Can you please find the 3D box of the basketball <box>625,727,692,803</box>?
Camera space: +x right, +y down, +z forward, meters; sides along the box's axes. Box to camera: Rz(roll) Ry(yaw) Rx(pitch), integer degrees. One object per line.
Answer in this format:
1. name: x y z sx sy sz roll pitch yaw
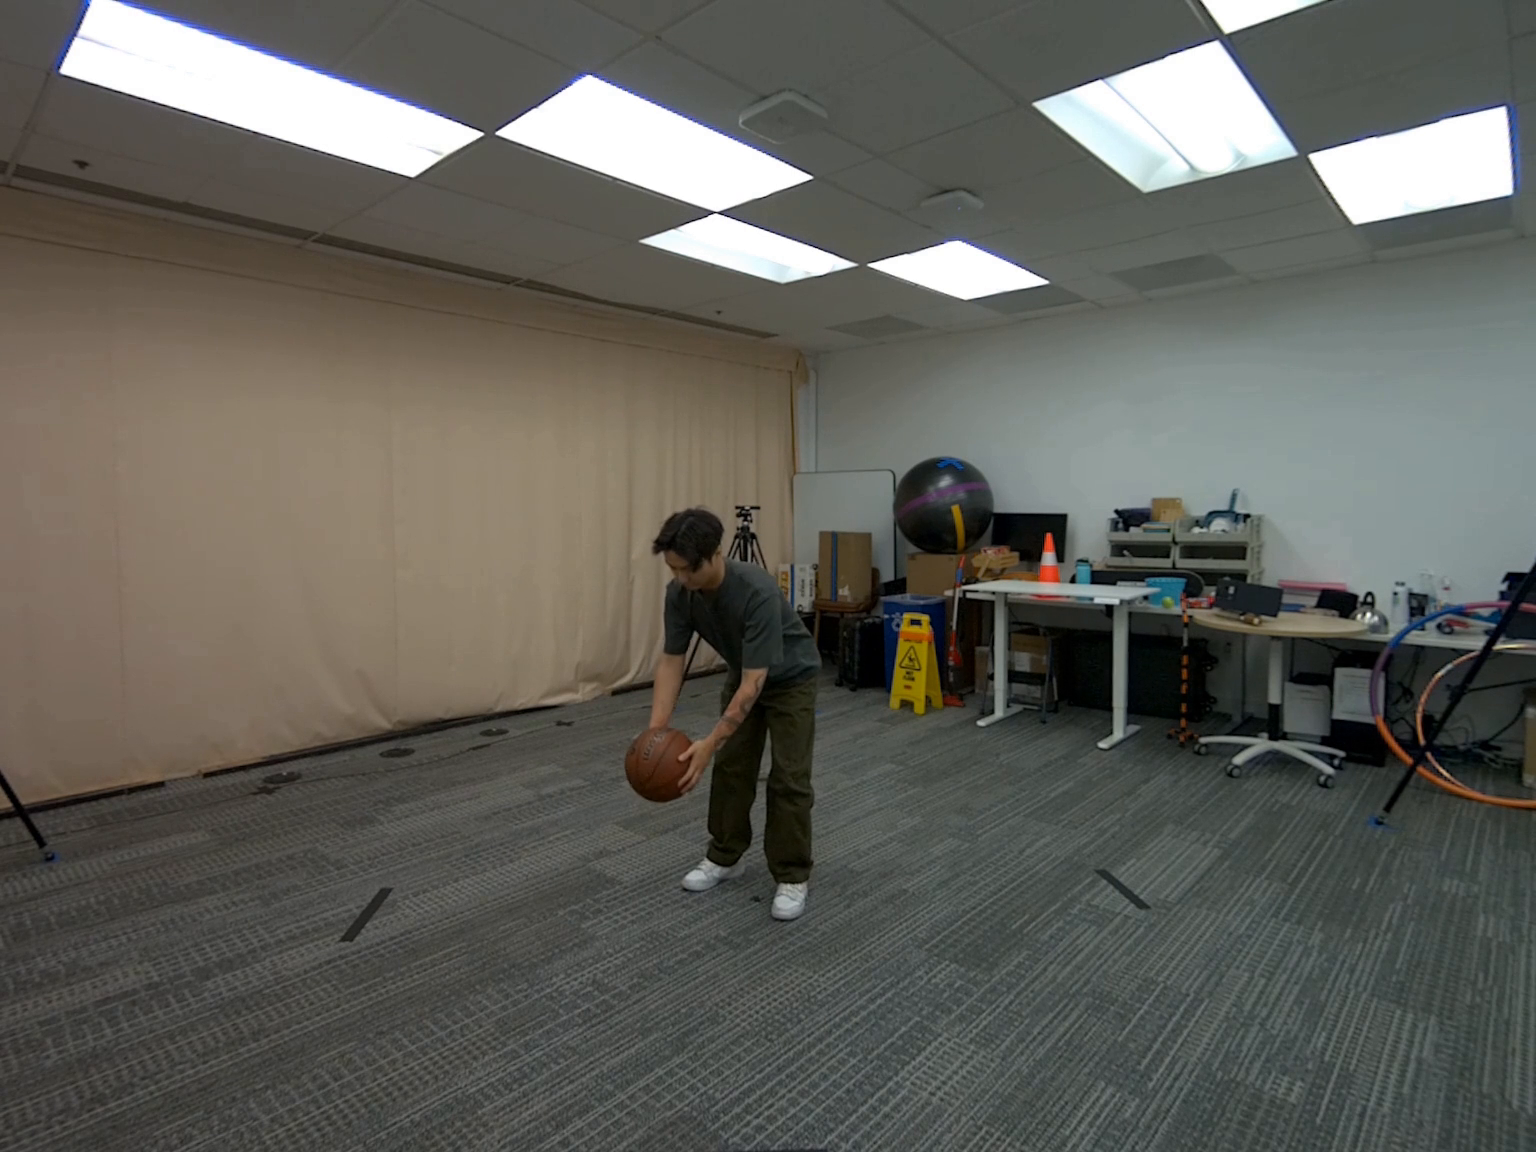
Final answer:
1. basketball: -0.348 0.606 2.718 0.236 0.235 0.237 0 4 -2
